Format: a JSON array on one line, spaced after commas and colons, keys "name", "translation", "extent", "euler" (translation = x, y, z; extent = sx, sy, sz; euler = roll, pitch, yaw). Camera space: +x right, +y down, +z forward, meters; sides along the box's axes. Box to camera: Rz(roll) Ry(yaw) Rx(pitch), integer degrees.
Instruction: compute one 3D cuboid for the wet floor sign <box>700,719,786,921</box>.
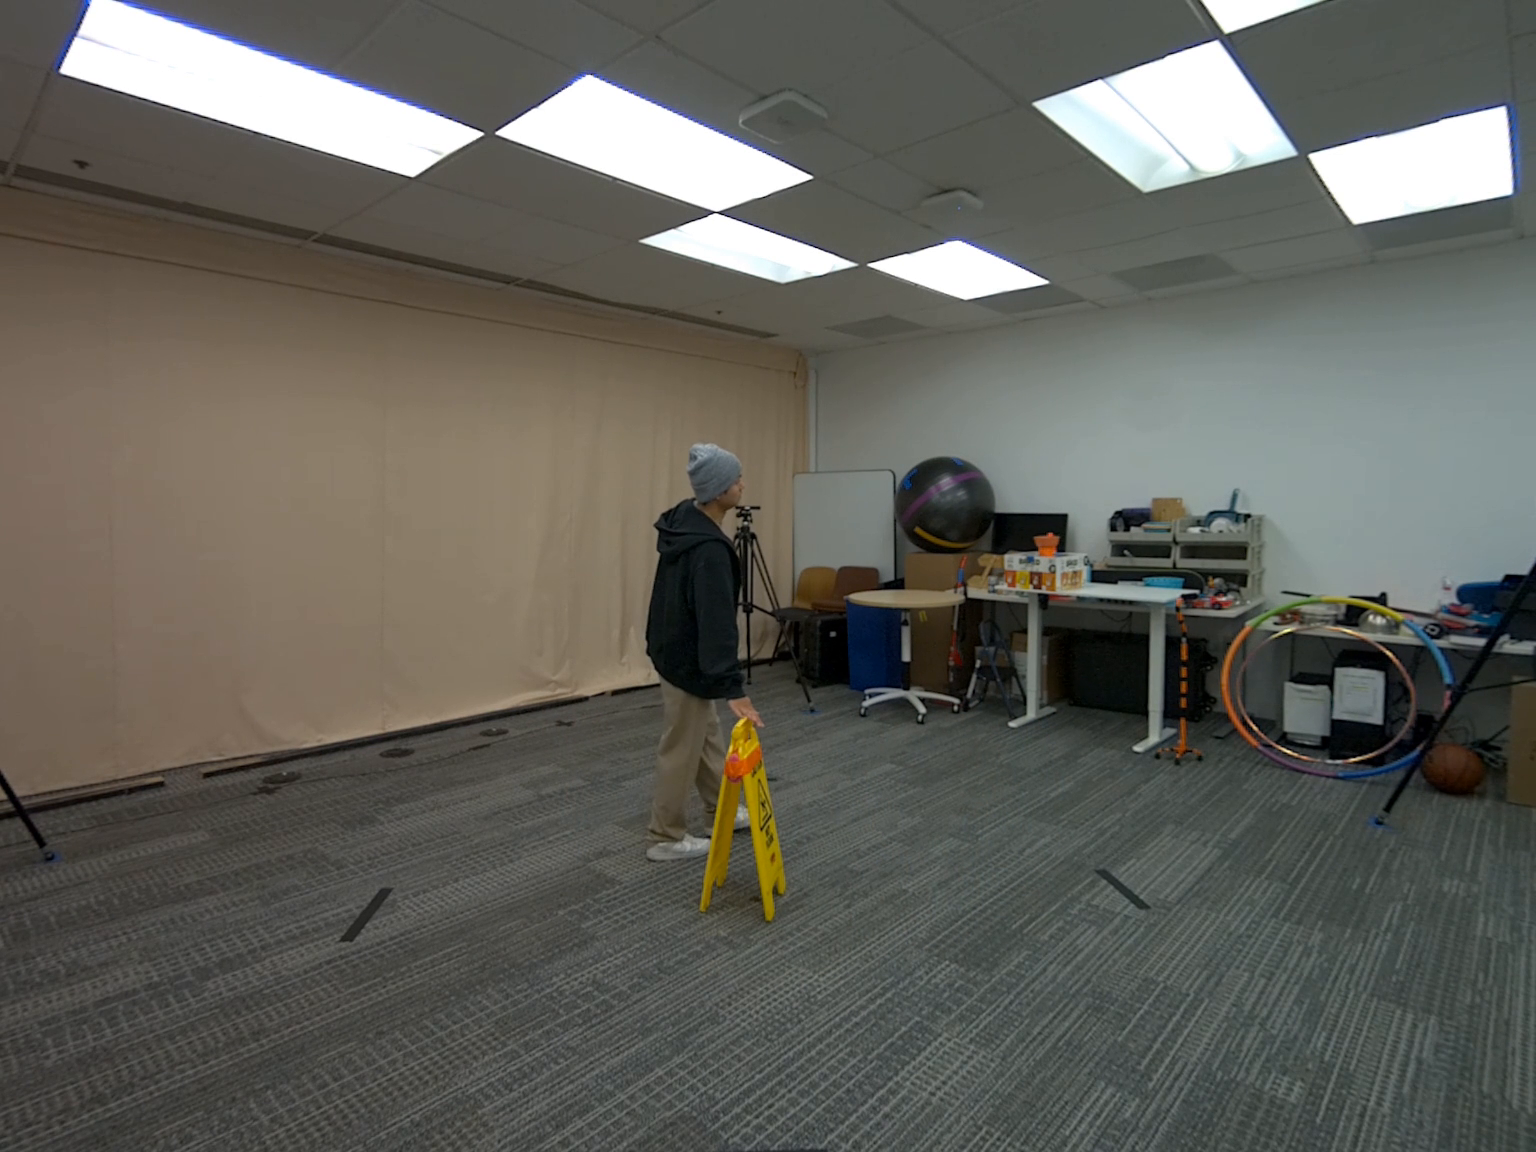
[{"name": "wet floor sign", "translation": [-0.087, 0.822, 2.965], "extent": [0.294, 0.645, 0.278], "euler": [0, 2, 14]}]
